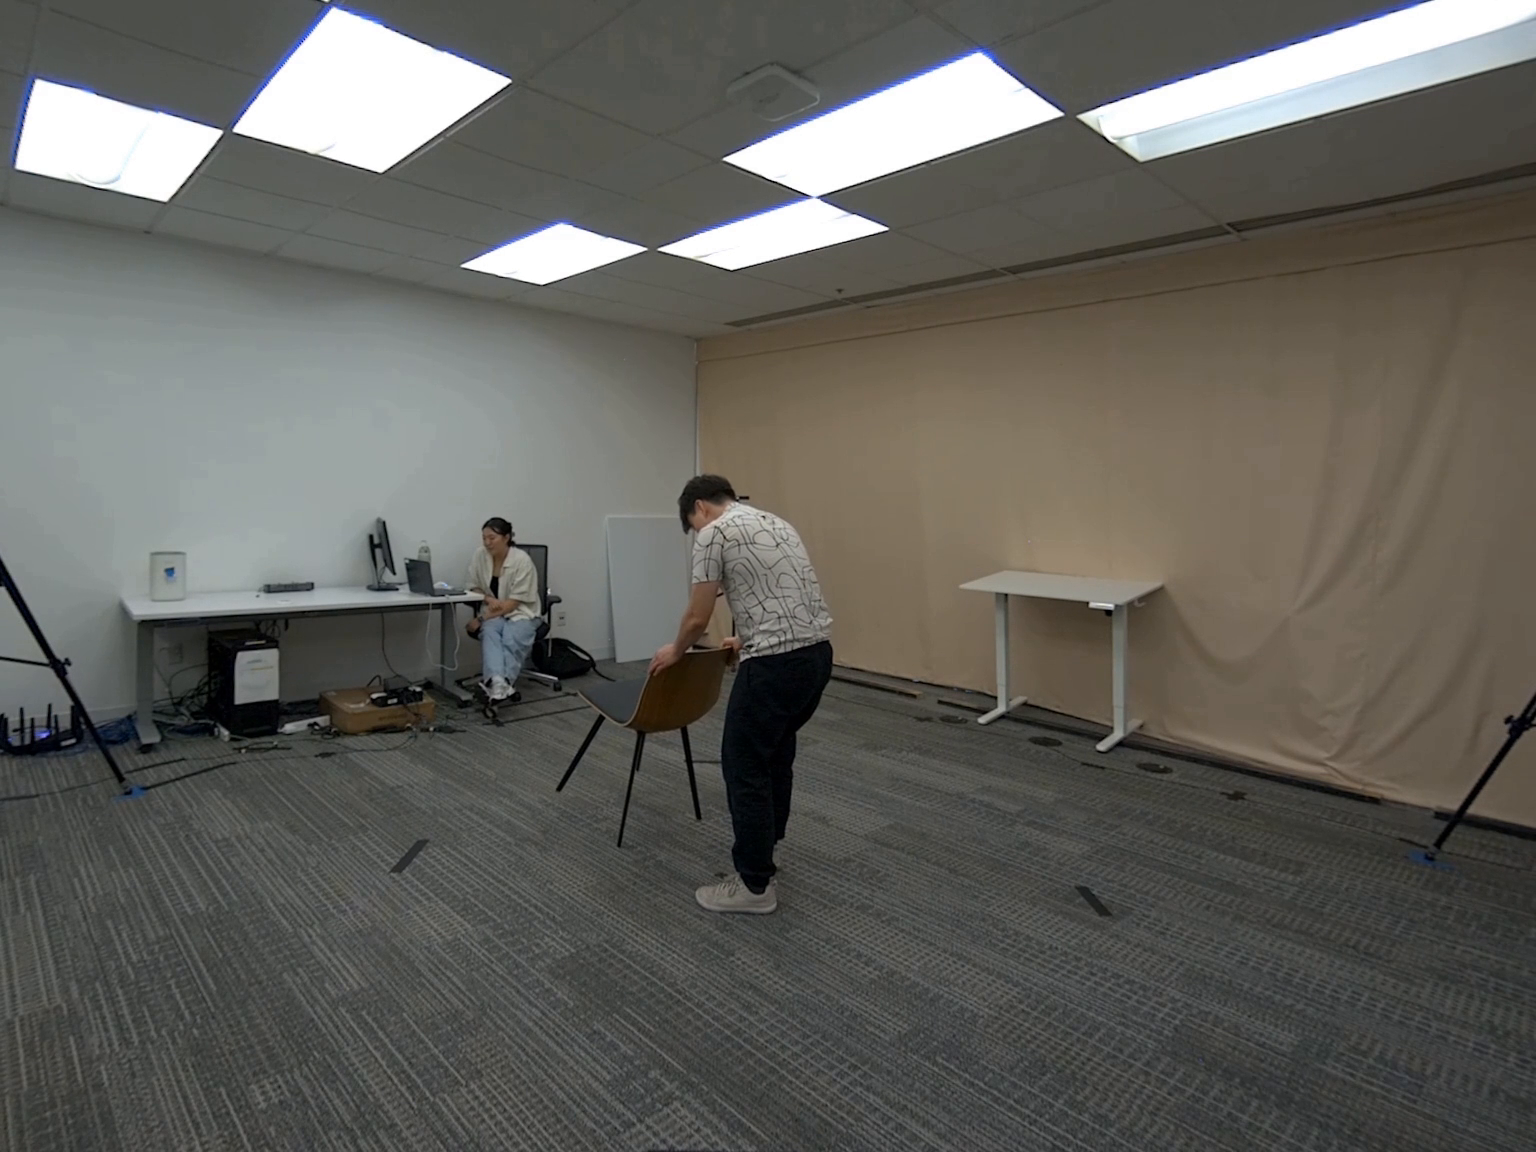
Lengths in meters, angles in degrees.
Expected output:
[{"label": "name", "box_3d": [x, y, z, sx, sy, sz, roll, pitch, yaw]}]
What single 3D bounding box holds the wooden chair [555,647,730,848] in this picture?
[{"label": "wooden chair", "box_3d": [-0.523, 0.586, 3.538, 0.467, 0.870, 0.539, -2, 24, -46]}]
